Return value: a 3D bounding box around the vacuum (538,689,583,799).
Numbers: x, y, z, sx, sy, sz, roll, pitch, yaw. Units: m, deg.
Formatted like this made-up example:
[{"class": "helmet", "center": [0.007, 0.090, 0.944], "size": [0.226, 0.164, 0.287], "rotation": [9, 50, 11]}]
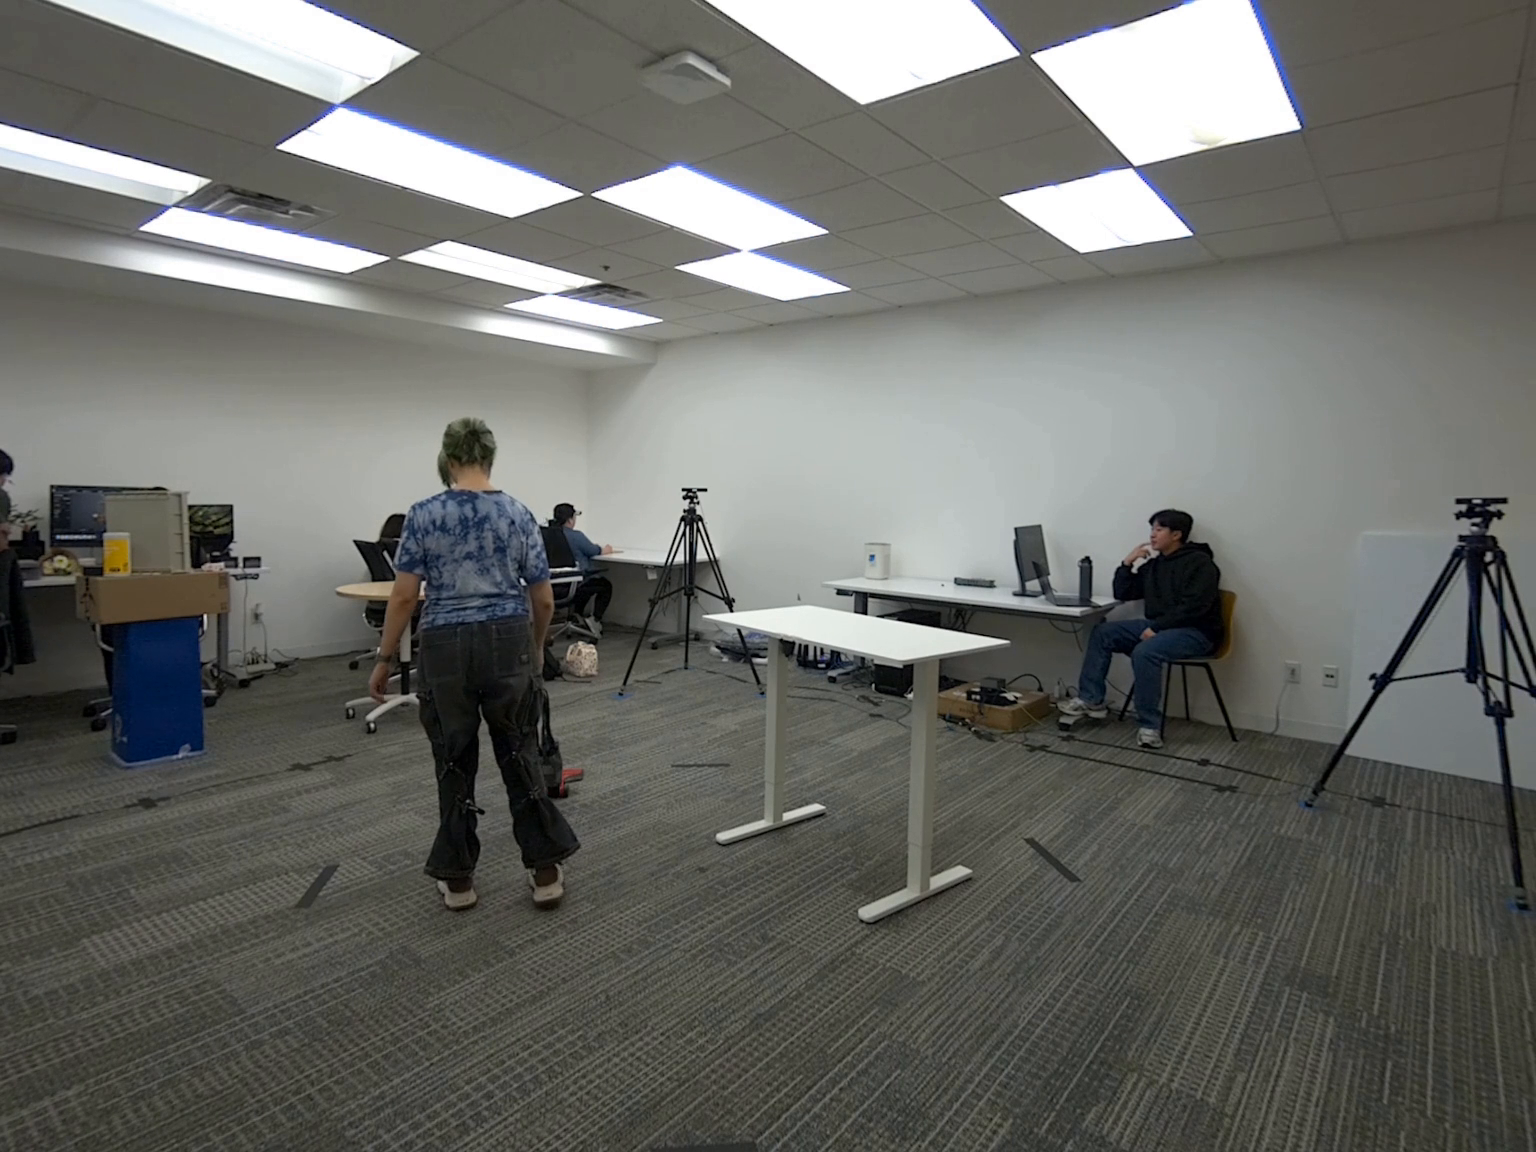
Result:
[{"class": "vacuum", "center": [-0.937, 0.656, 3.470], "size": [0.251, 0.148, 1.024], "rotation": [1, -36, -6]}]
